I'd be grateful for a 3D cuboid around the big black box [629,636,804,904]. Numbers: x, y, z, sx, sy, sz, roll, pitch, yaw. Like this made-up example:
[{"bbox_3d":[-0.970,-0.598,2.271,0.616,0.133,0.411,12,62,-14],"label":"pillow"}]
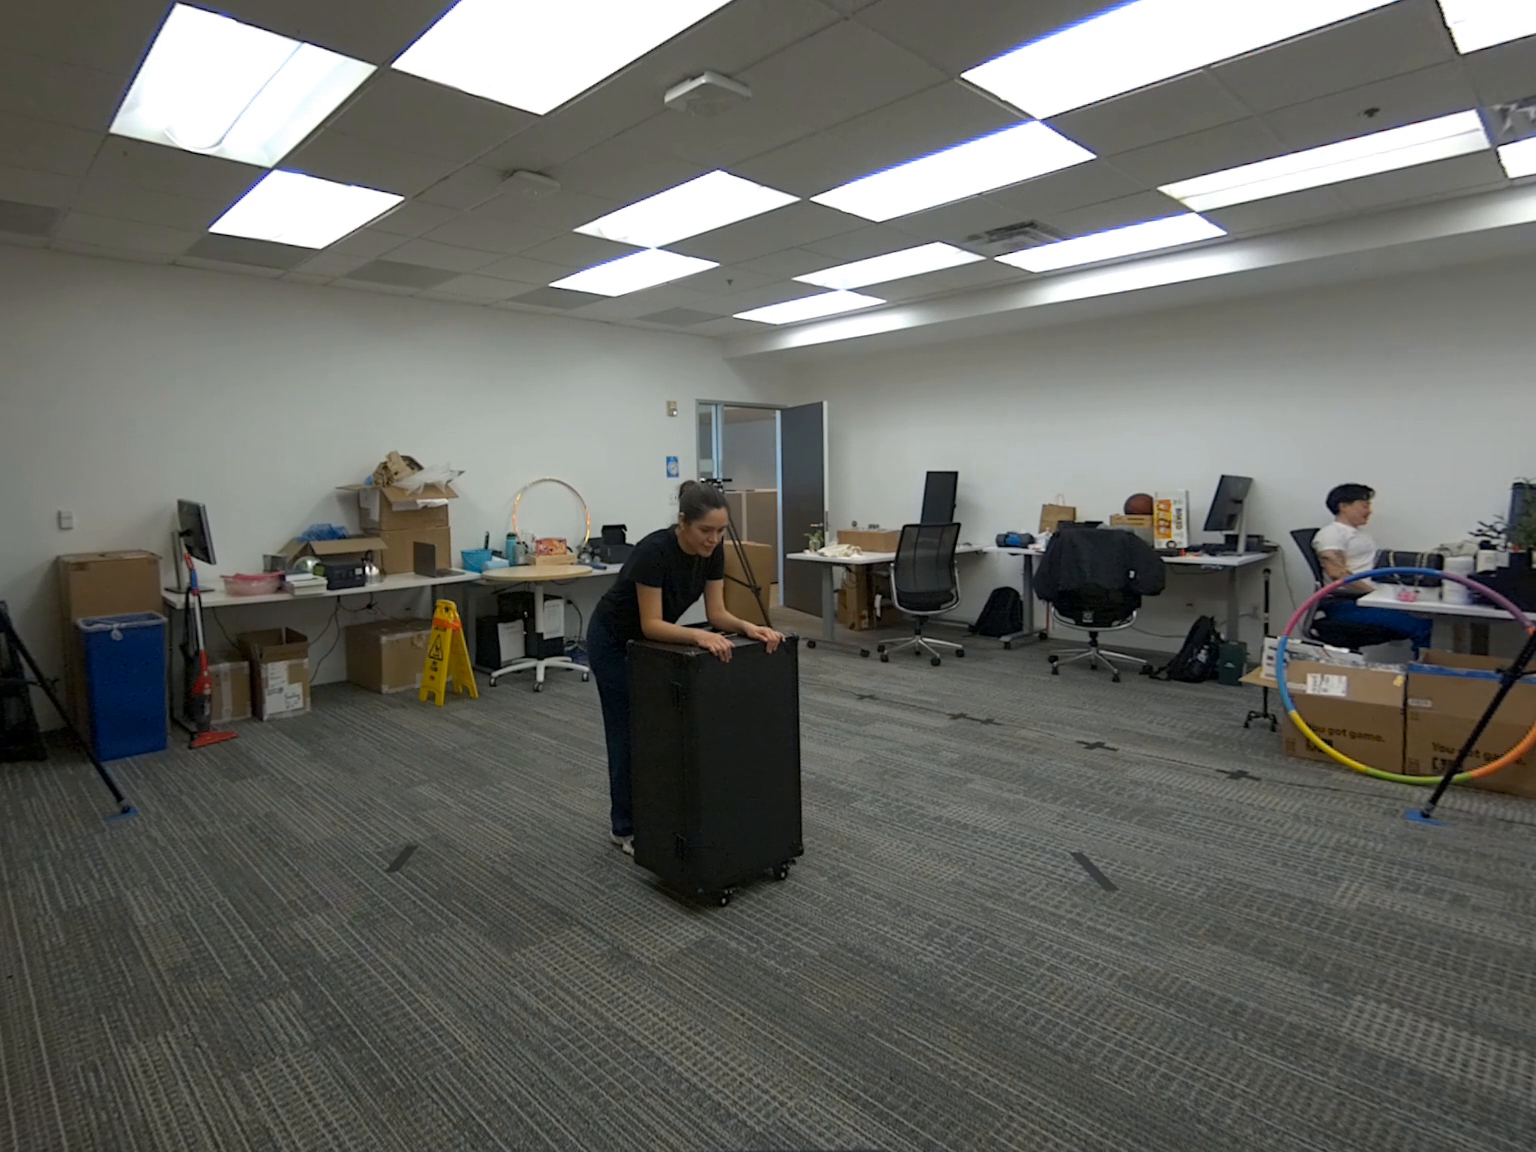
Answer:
[{"bbox_3d":[-0.188,0.579,2.980,0.508,0.858,0.408,-6,6,-41],"label":"big black box"}]
